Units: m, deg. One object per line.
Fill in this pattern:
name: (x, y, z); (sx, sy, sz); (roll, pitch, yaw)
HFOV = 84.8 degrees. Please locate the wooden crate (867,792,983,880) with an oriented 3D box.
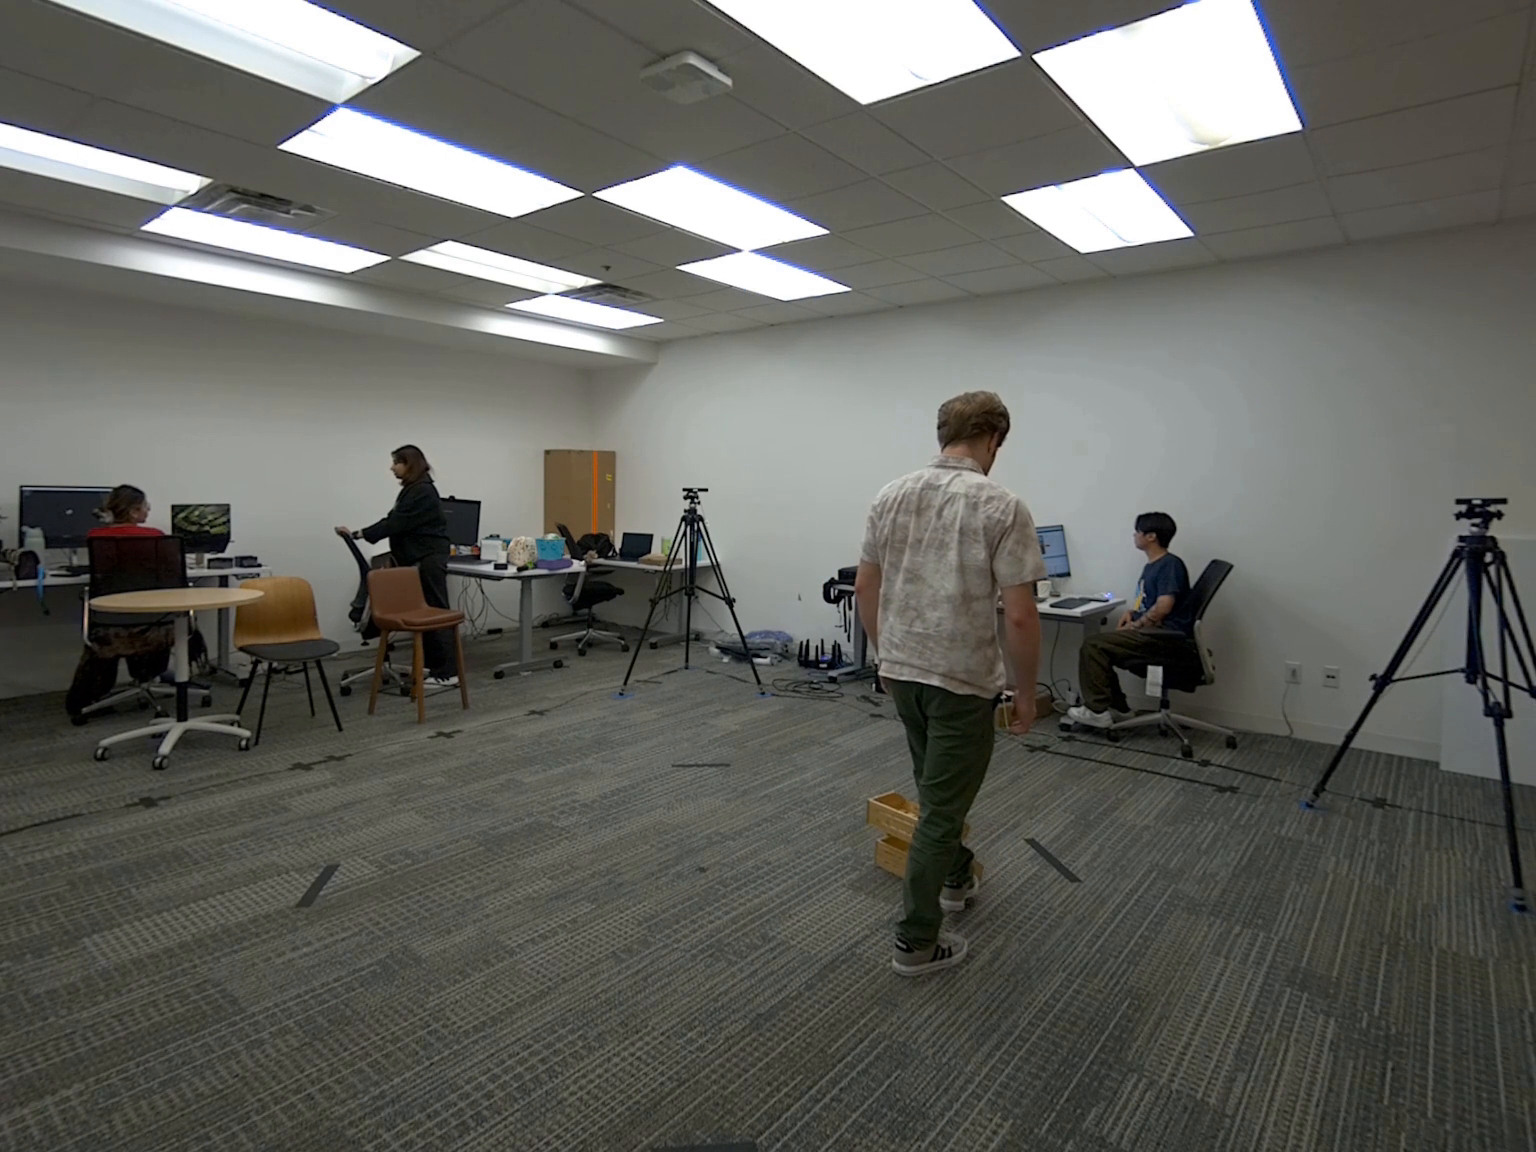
wooden crate: (0.571, 0.953, 3.114); (0.293, 0.272, 0.335); (-3, 7, -39)
